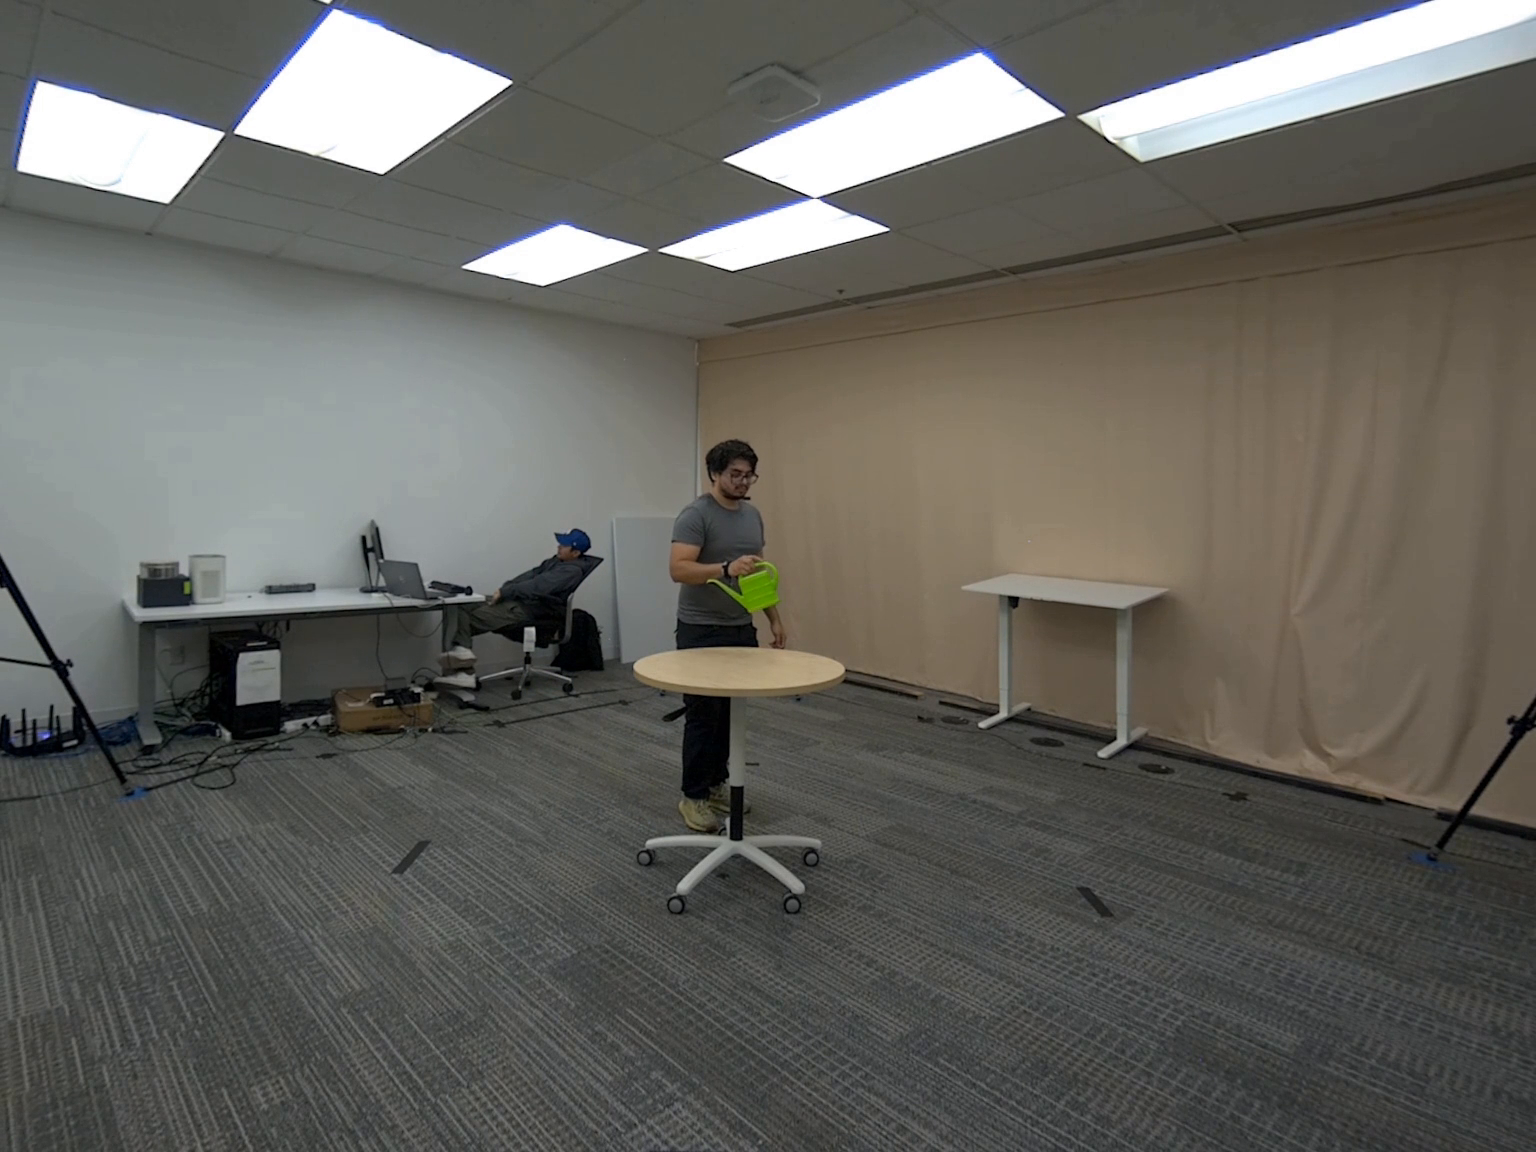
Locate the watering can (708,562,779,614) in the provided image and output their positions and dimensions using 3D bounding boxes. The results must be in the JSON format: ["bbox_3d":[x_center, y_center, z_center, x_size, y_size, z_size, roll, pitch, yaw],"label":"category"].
[{"bbox_3d":[-0.094,0.058,3.304,0.281,0.177,0.096,-20,-3,26],"label":"watering can"}]
